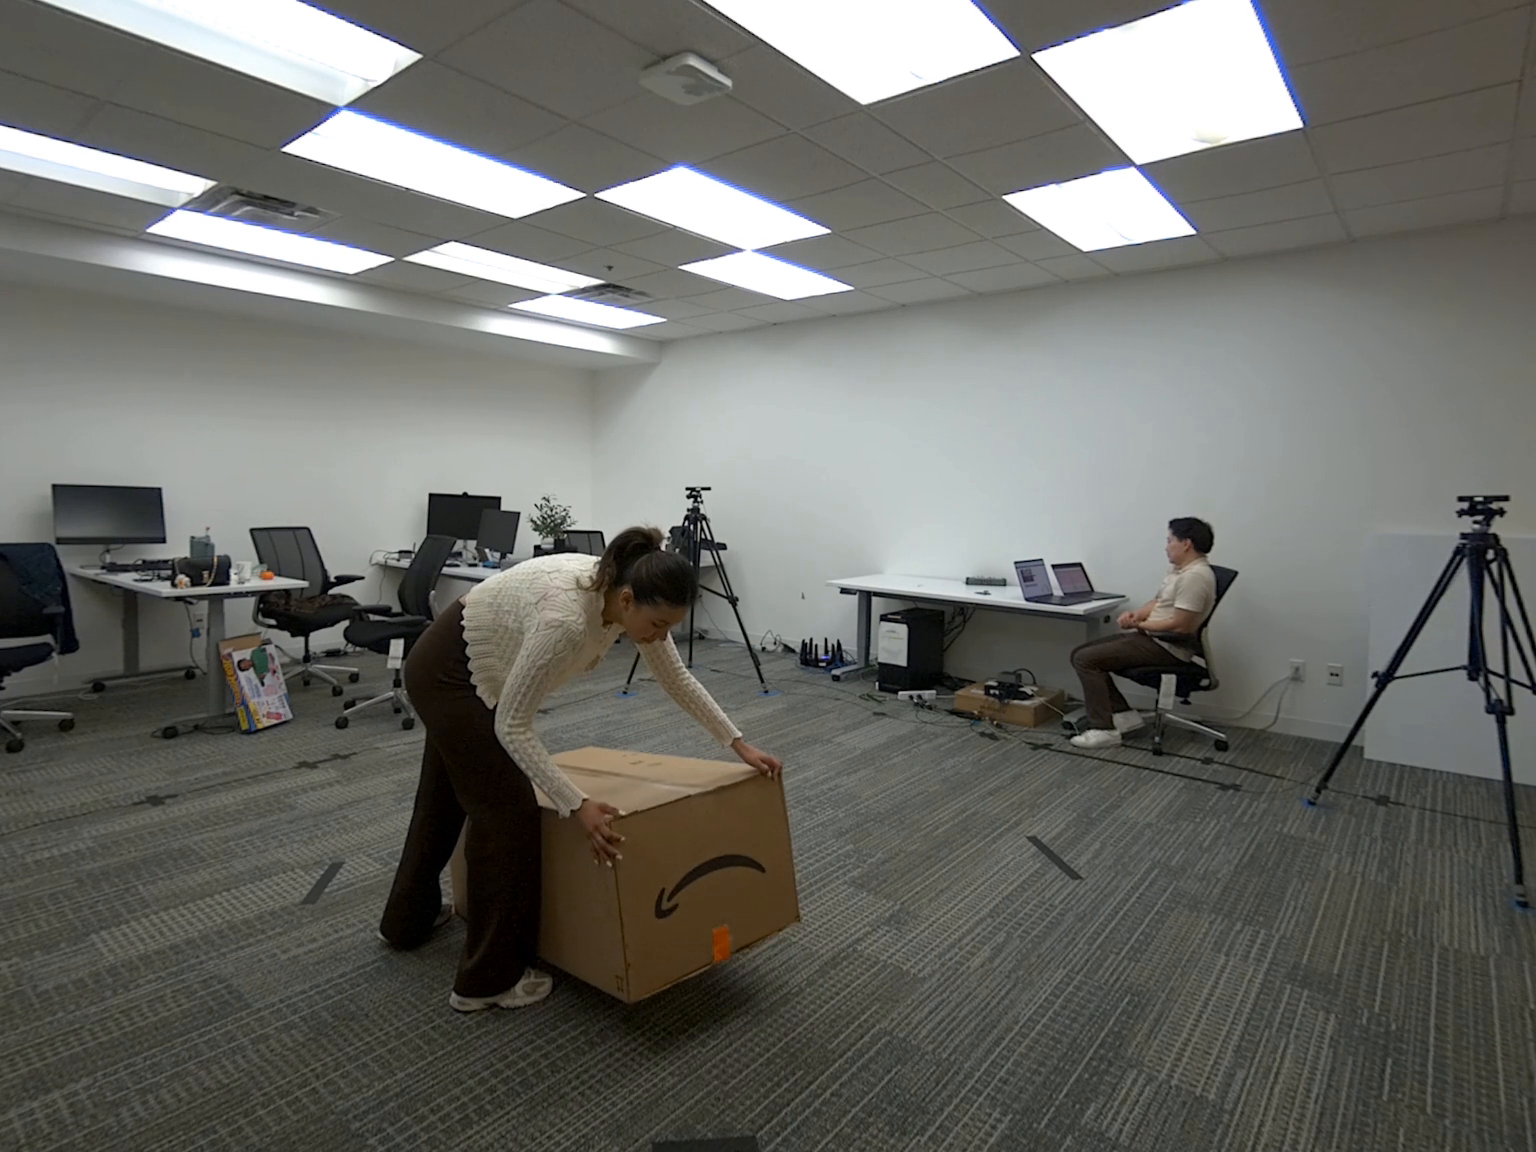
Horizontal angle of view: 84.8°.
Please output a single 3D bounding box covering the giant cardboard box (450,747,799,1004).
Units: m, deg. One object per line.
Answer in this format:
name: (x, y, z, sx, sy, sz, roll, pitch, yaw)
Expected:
giant cardboard box: (-0.490, 0.814, 2.566, 0.561, 0.428, 1.053, -5, -2, -42)
